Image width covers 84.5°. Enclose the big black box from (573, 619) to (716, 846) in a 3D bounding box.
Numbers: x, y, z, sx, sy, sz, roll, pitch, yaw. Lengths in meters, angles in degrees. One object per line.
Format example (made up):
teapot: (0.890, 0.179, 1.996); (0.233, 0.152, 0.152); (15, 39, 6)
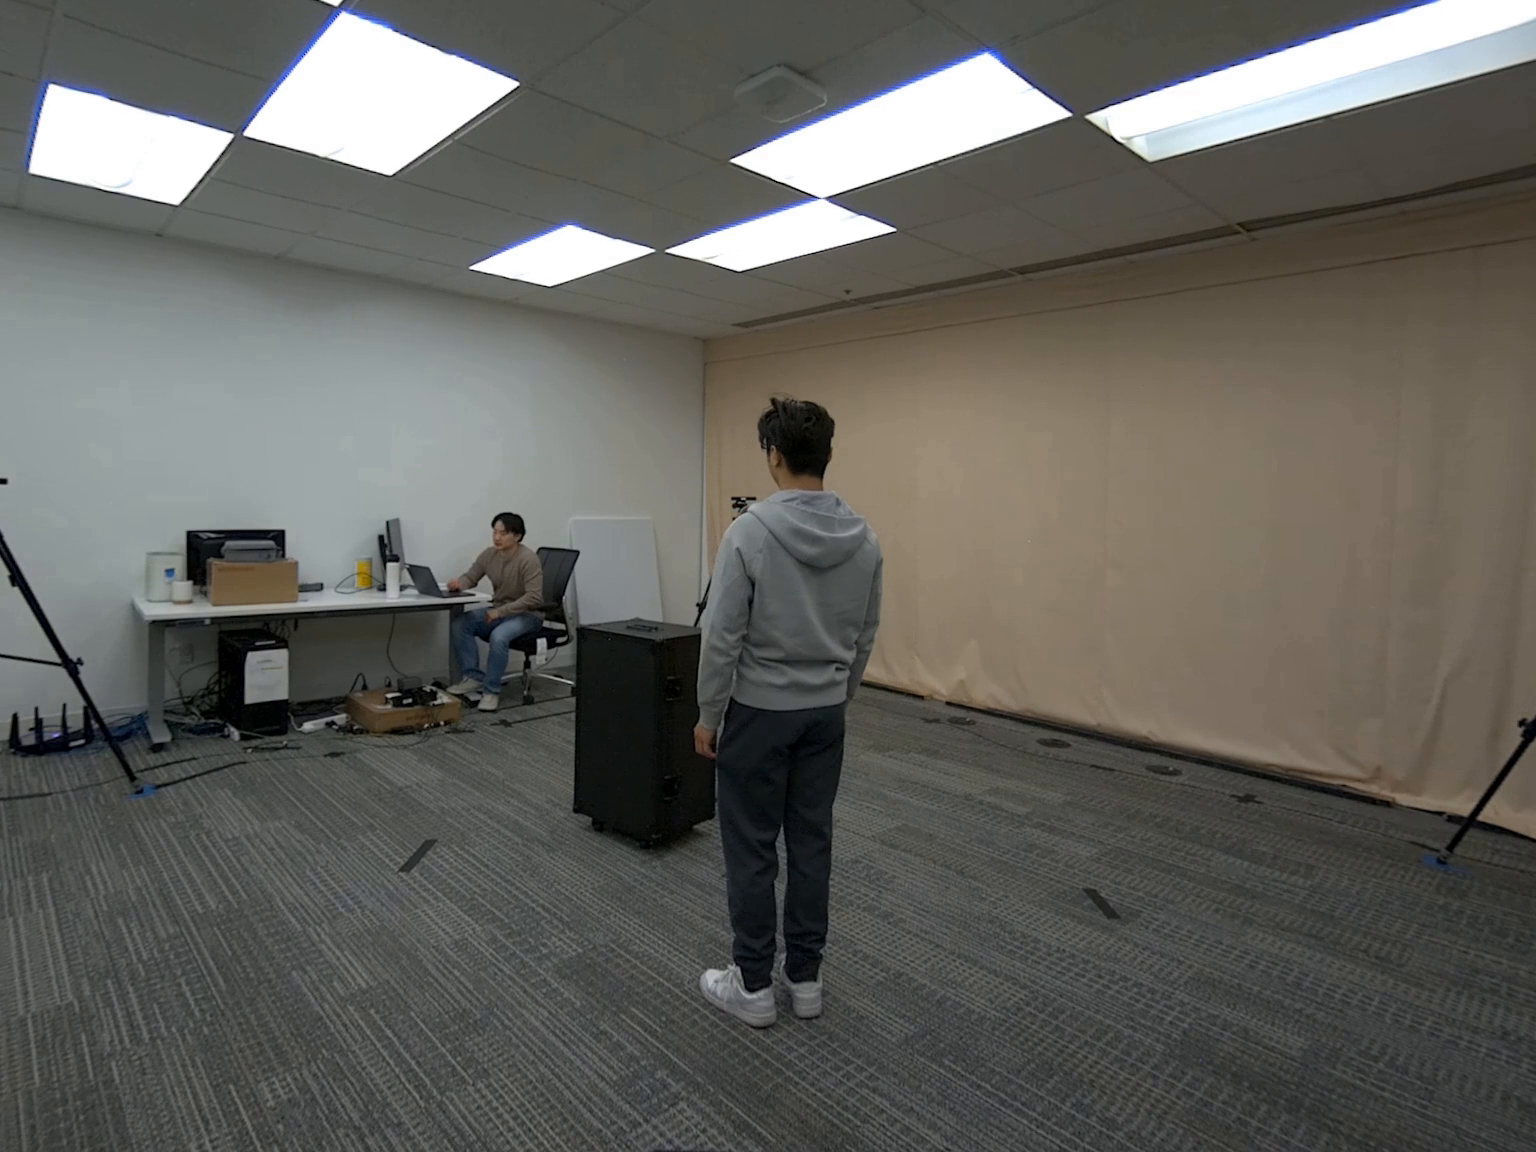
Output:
big black box: (-0.512, 0.638, 3.493); (0.534, 0.860, 0.387); (4, 3, 38)
